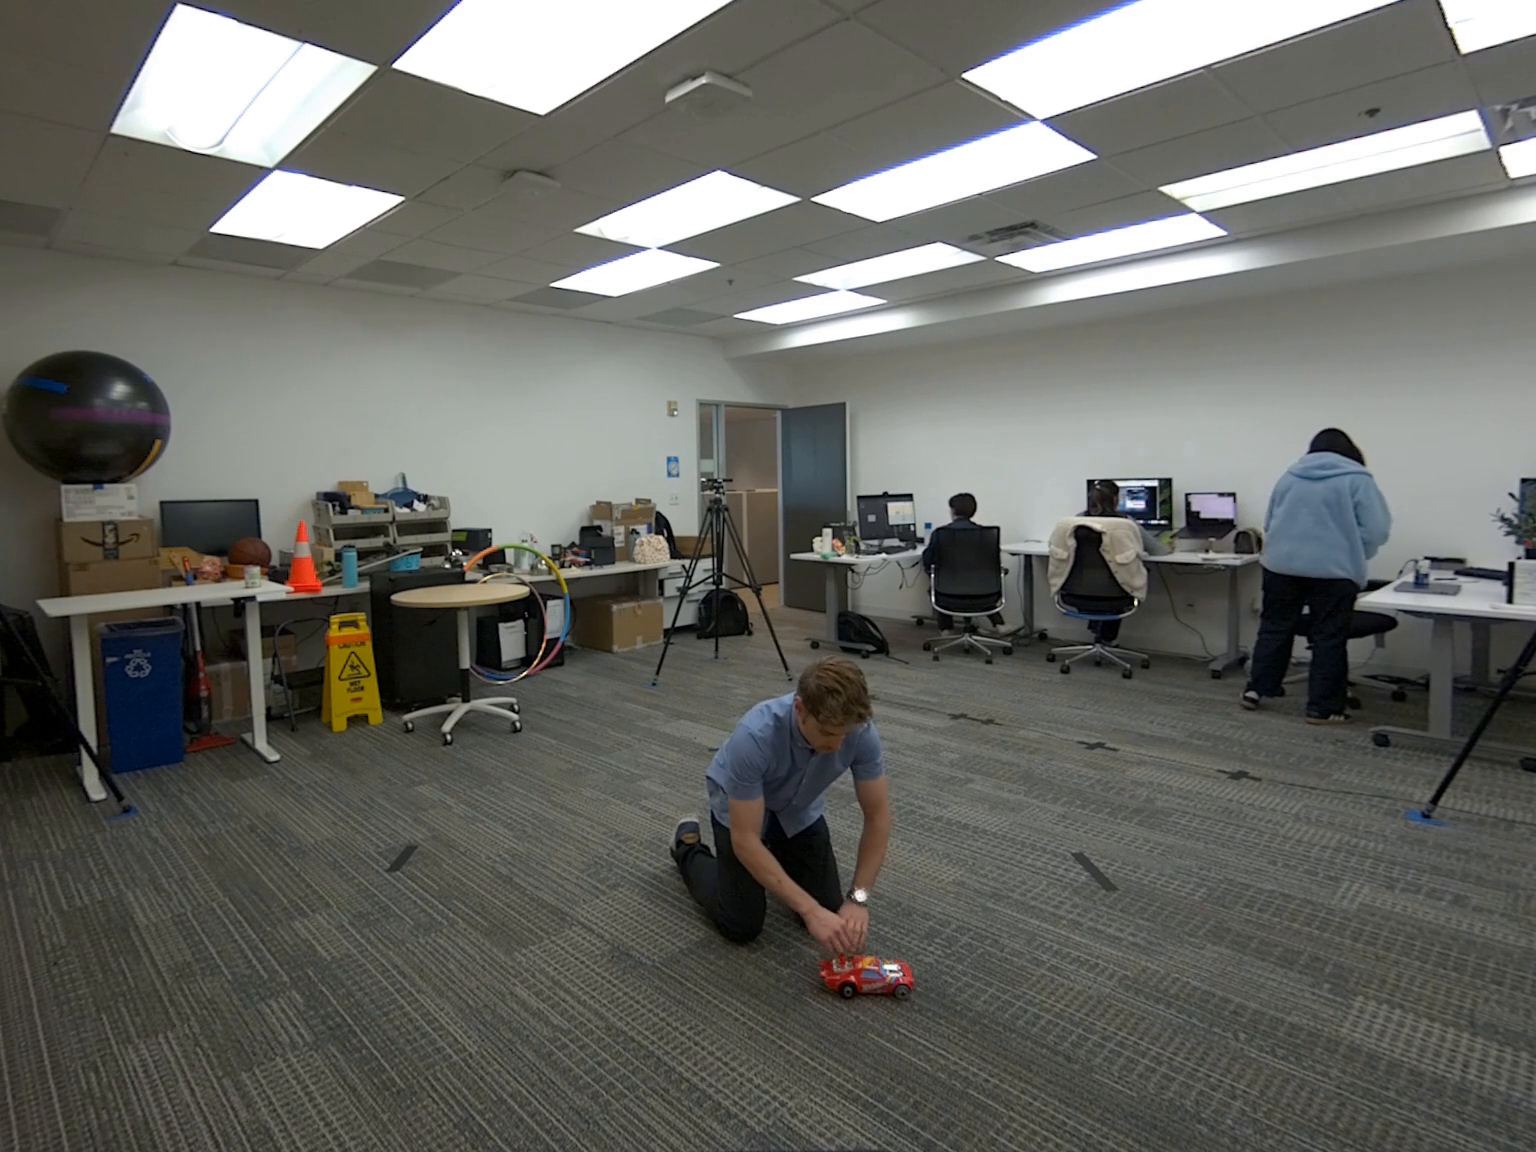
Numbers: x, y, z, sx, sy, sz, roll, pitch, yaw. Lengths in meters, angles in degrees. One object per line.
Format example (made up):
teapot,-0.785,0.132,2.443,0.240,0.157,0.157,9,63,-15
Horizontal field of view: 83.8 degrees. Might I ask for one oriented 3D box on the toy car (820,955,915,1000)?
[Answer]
toy car,0.272,1.099,2.334,0.255,0.083,0.130,8,5,1
